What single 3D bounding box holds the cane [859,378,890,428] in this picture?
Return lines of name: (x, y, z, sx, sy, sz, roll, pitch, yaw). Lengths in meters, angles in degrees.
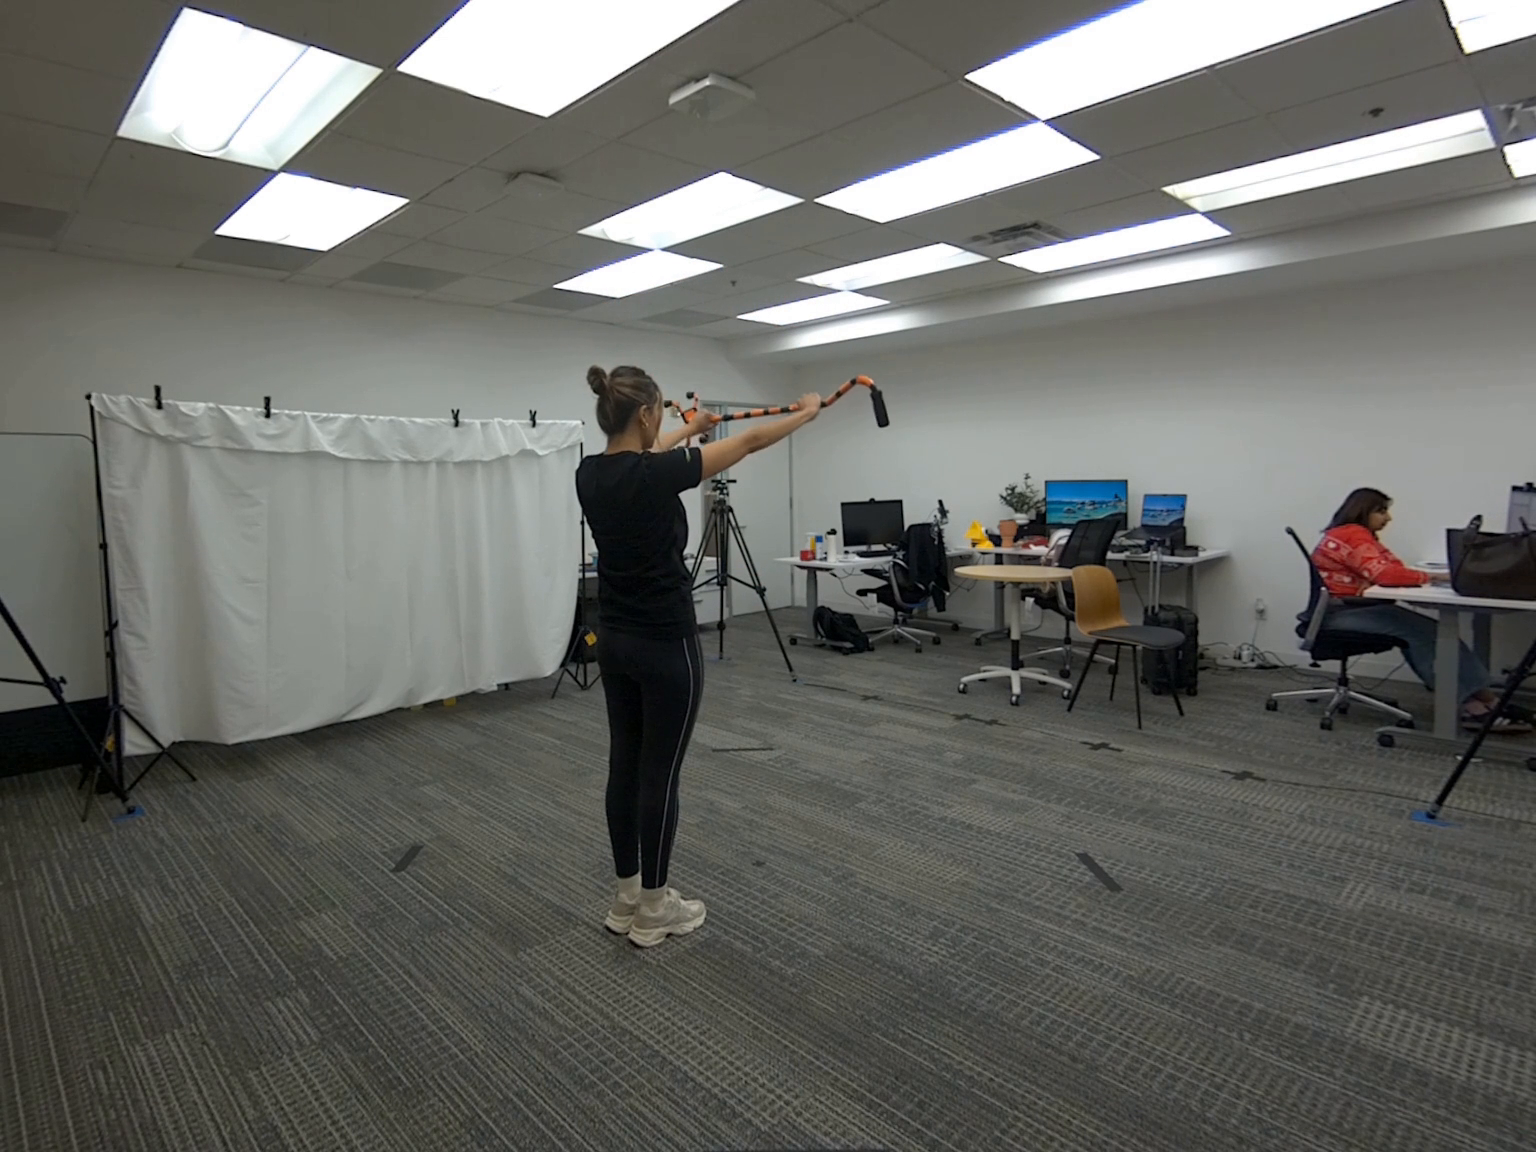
cane: (0.016, -0.565, 2.890, 0.935, 0.203, 0.150, 3, 24, 46)
